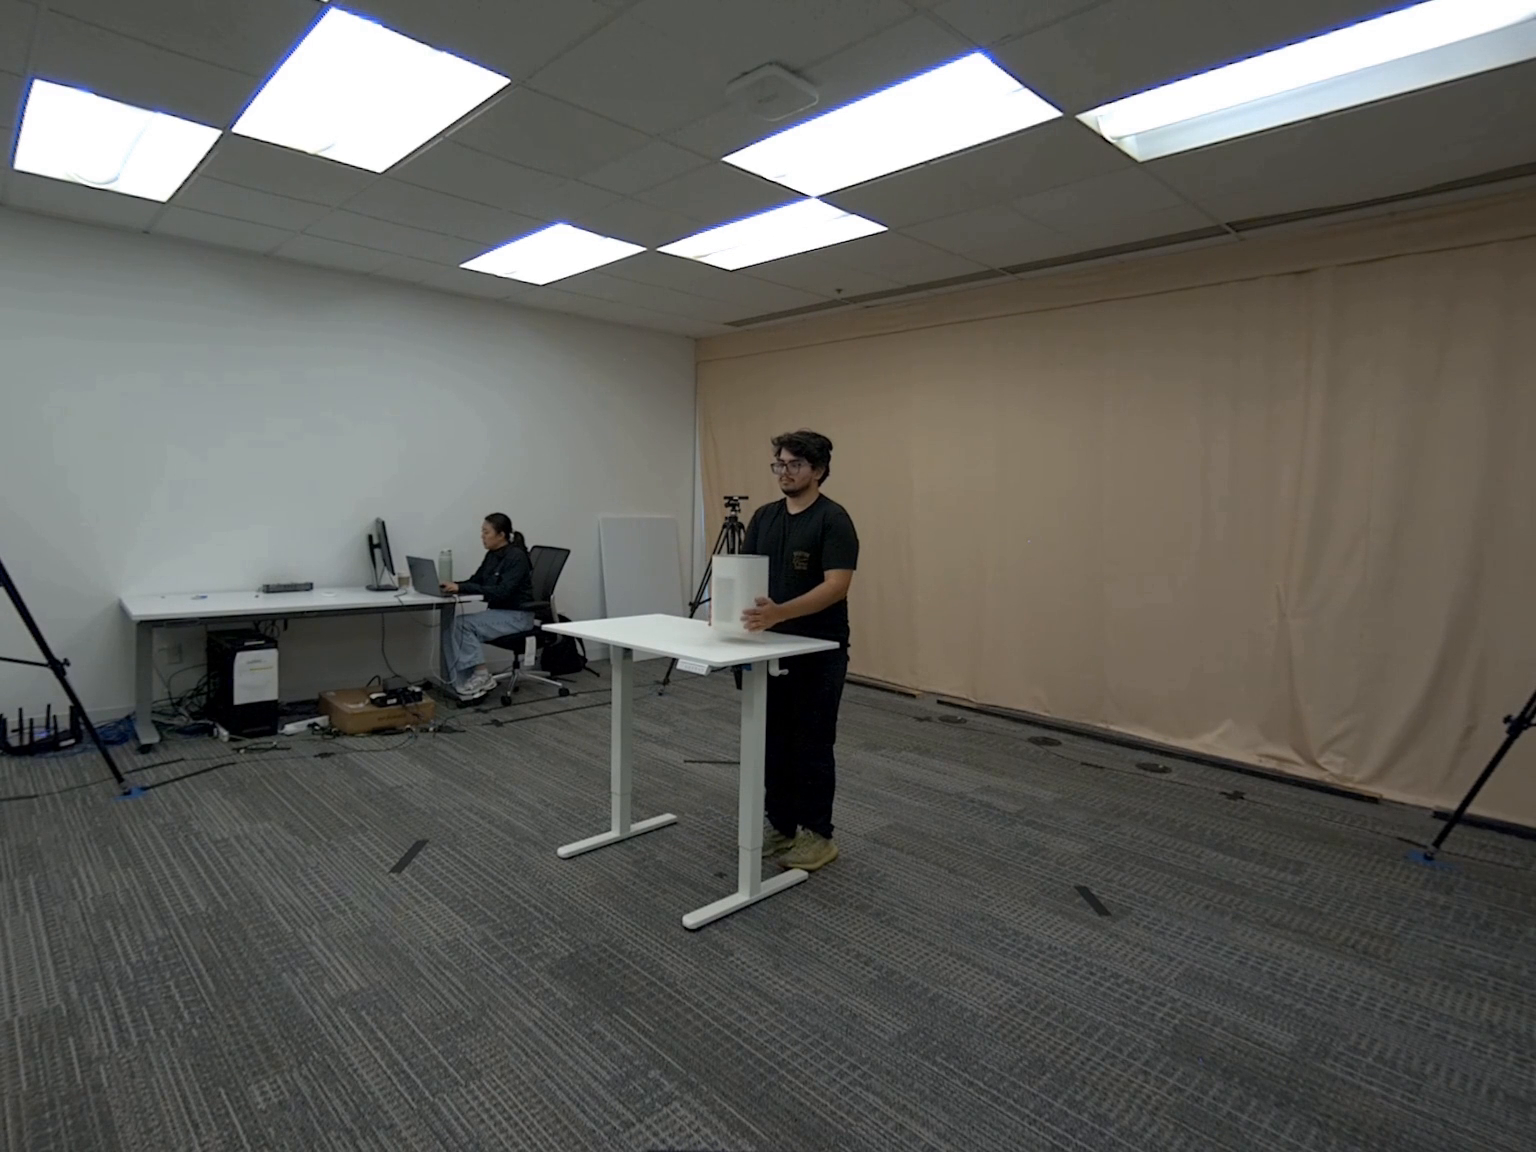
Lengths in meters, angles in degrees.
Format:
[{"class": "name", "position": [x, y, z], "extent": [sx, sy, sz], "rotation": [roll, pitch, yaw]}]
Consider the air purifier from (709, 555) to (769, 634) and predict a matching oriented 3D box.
[{"class": "air purifier", "position": [-0.104, 0.059, 2.951], "extent": [0.176, 0.265, 0.167], "rotation": [2, 1, 39]}]
